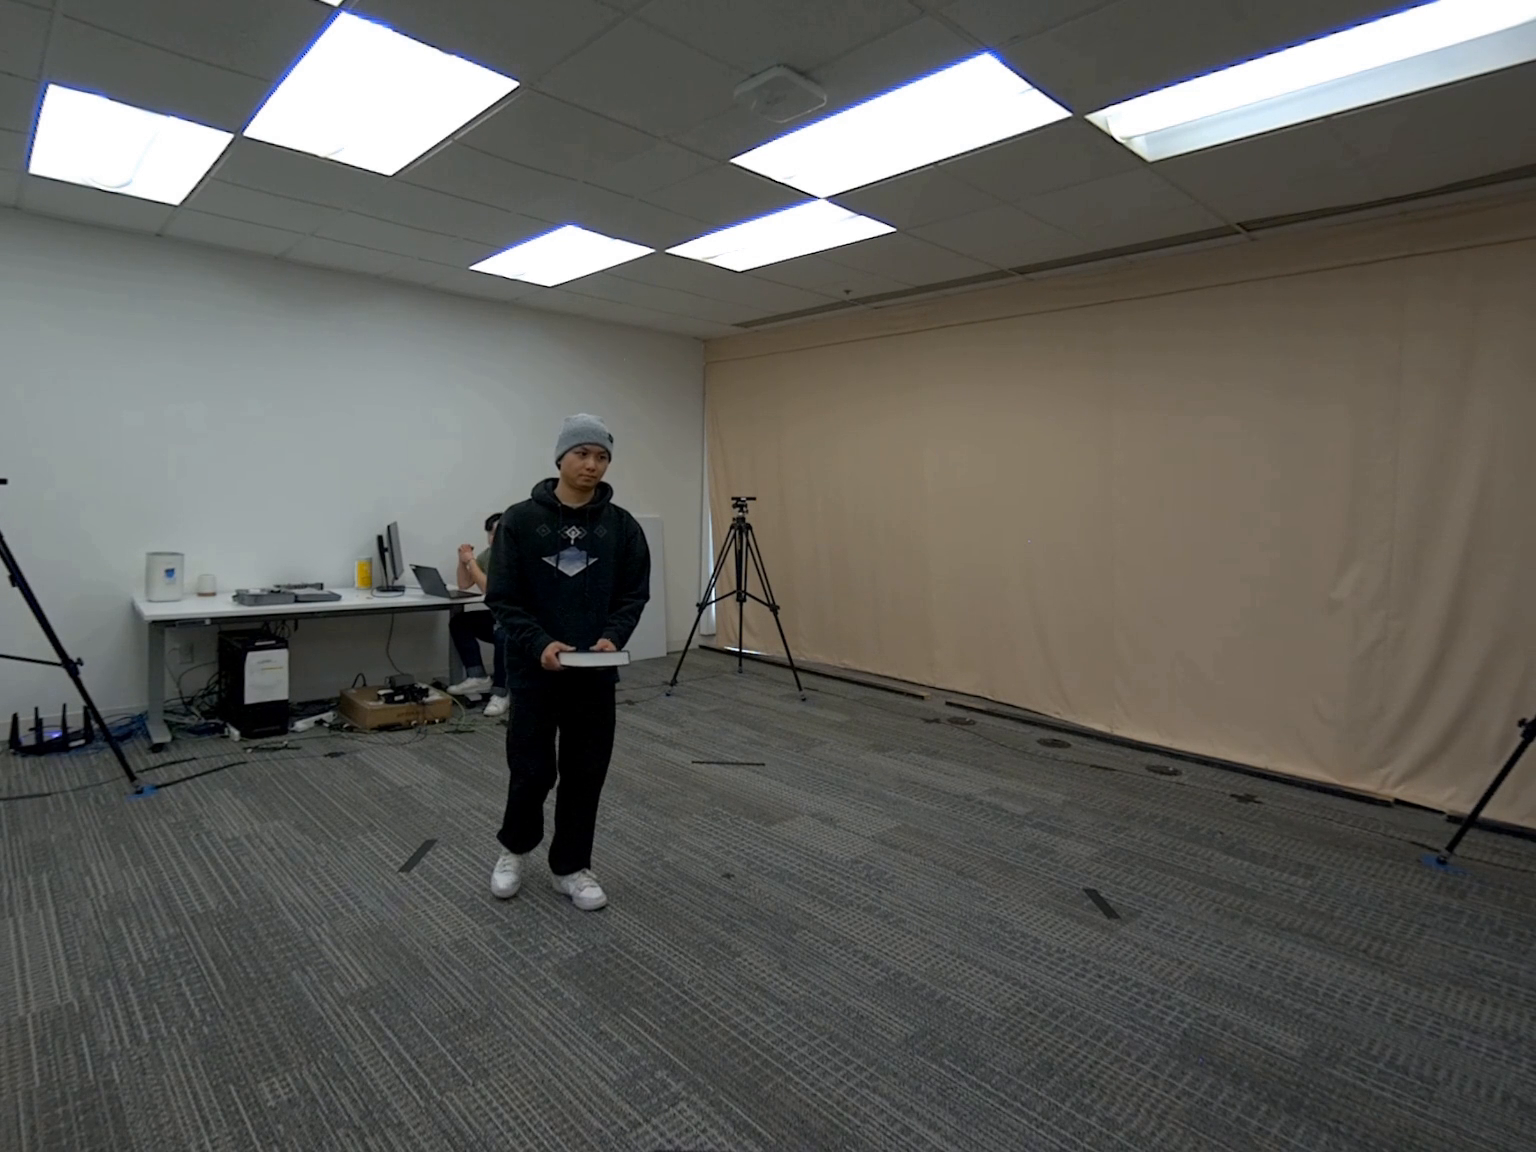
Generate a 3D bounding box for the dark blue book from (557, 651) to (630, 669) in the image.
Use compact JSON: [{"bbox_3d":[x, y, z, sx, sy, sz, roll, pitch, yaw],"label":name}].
[{"bbox_3d":[-0.570,0.256,2.615,0.160,0.045,0.250,0,-2,-35],"label":"dark blue book"}]
